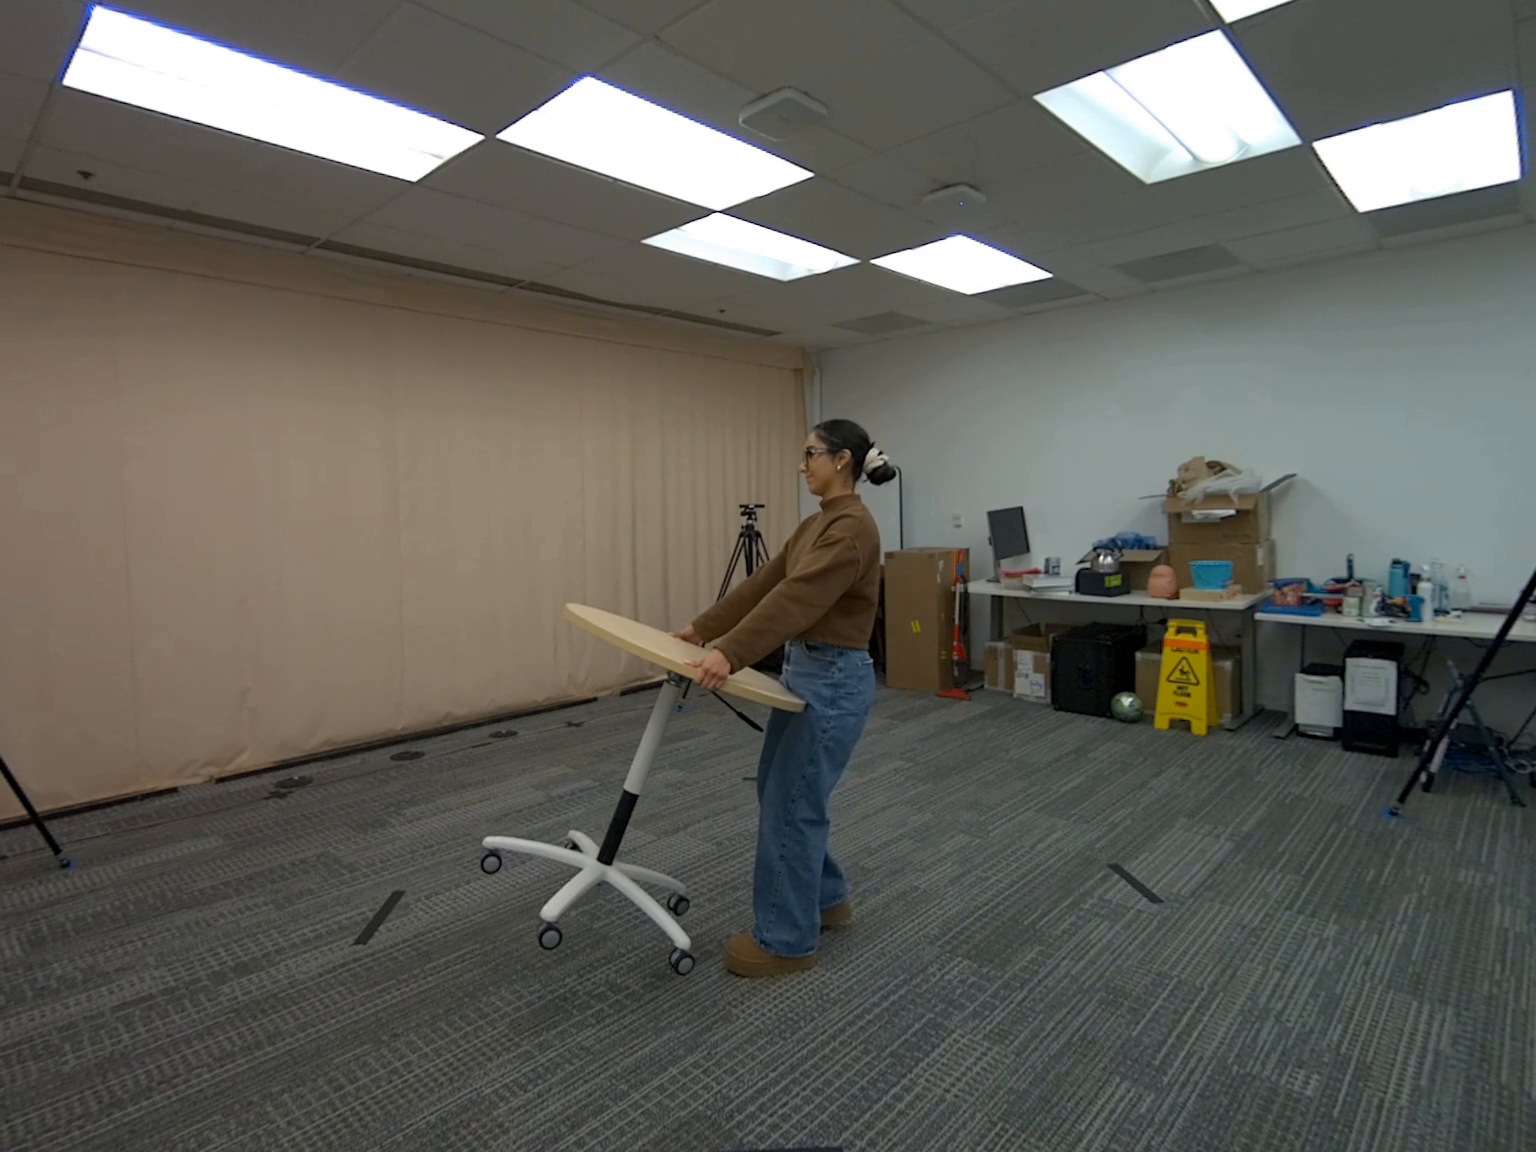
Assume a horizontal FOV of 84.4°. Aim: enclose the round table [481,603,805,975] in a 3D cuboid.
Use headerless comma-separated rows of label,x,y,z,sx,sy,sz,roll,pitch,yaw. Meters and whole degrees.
round table,-0.394,0.598,2.477,0.785,0.787,0.785,21,-3,-1
